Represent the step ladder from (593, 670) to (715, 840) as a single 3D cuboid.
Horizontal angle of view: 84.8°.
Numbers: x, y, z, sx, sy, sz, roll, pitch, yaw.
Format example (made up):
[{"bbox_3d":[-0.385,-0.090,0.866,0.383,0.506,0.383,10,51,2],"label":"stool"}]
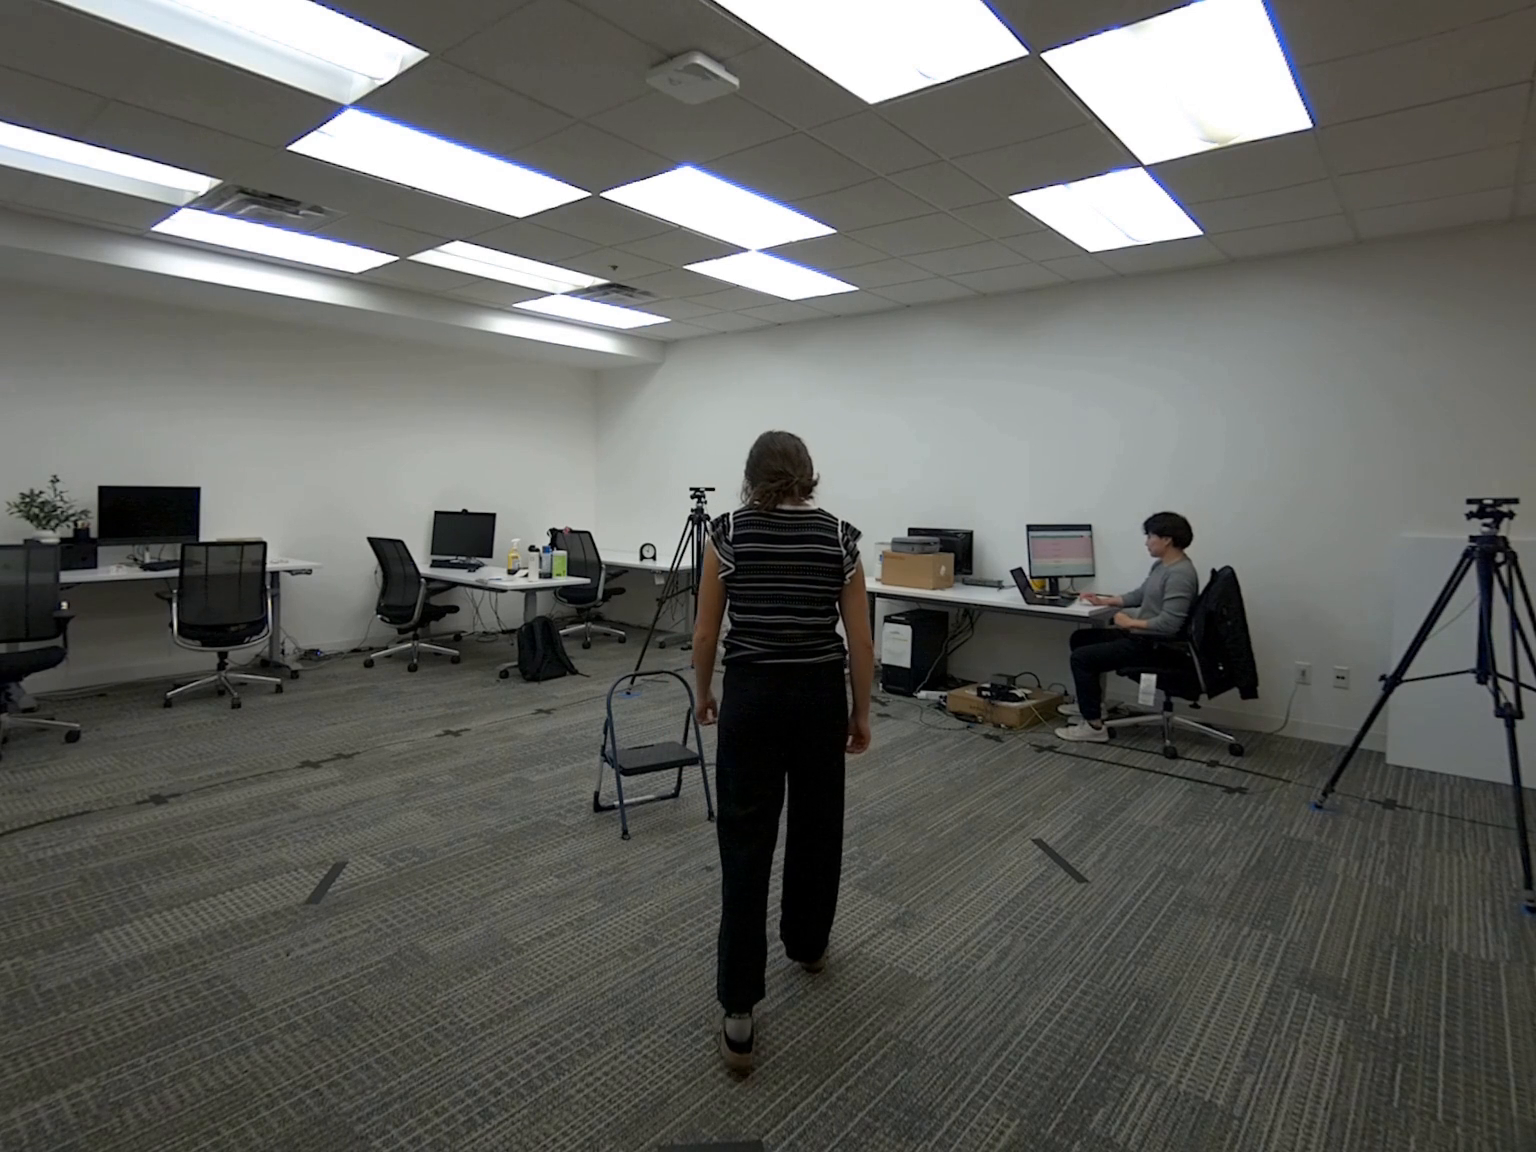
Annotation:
[{"bbox_3d":[-0.493,0.712,3.590,0.418,0.605,0.360,-1,3,-33],"label":"step ladder"}]
